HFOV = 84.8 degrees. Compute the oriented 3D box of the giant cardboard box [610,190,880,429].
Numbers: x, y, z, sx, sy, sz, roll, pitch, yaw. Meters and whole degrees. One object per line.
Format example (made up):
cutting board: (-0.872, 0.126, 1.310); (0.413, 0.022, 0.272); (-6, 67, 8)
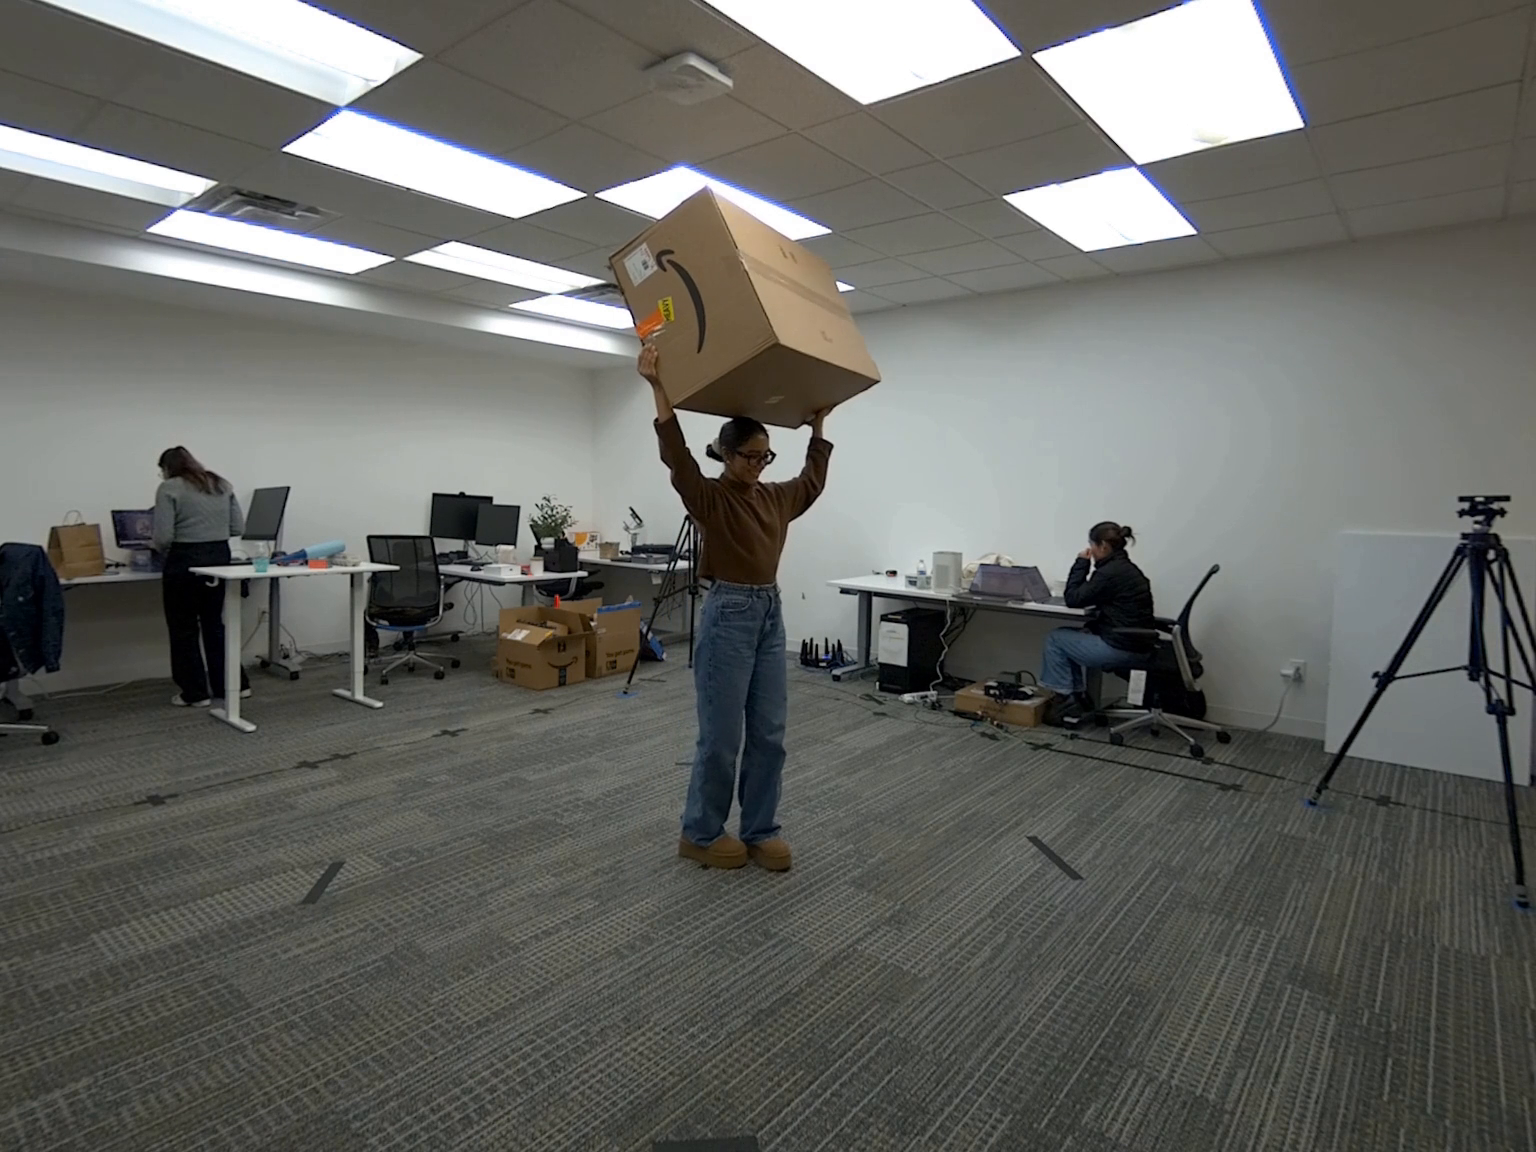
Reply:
giant cardboard box: (-0.051, -0.922, 3.133); (0.431, 0.584, 1.002); (-27, -8, 26)
